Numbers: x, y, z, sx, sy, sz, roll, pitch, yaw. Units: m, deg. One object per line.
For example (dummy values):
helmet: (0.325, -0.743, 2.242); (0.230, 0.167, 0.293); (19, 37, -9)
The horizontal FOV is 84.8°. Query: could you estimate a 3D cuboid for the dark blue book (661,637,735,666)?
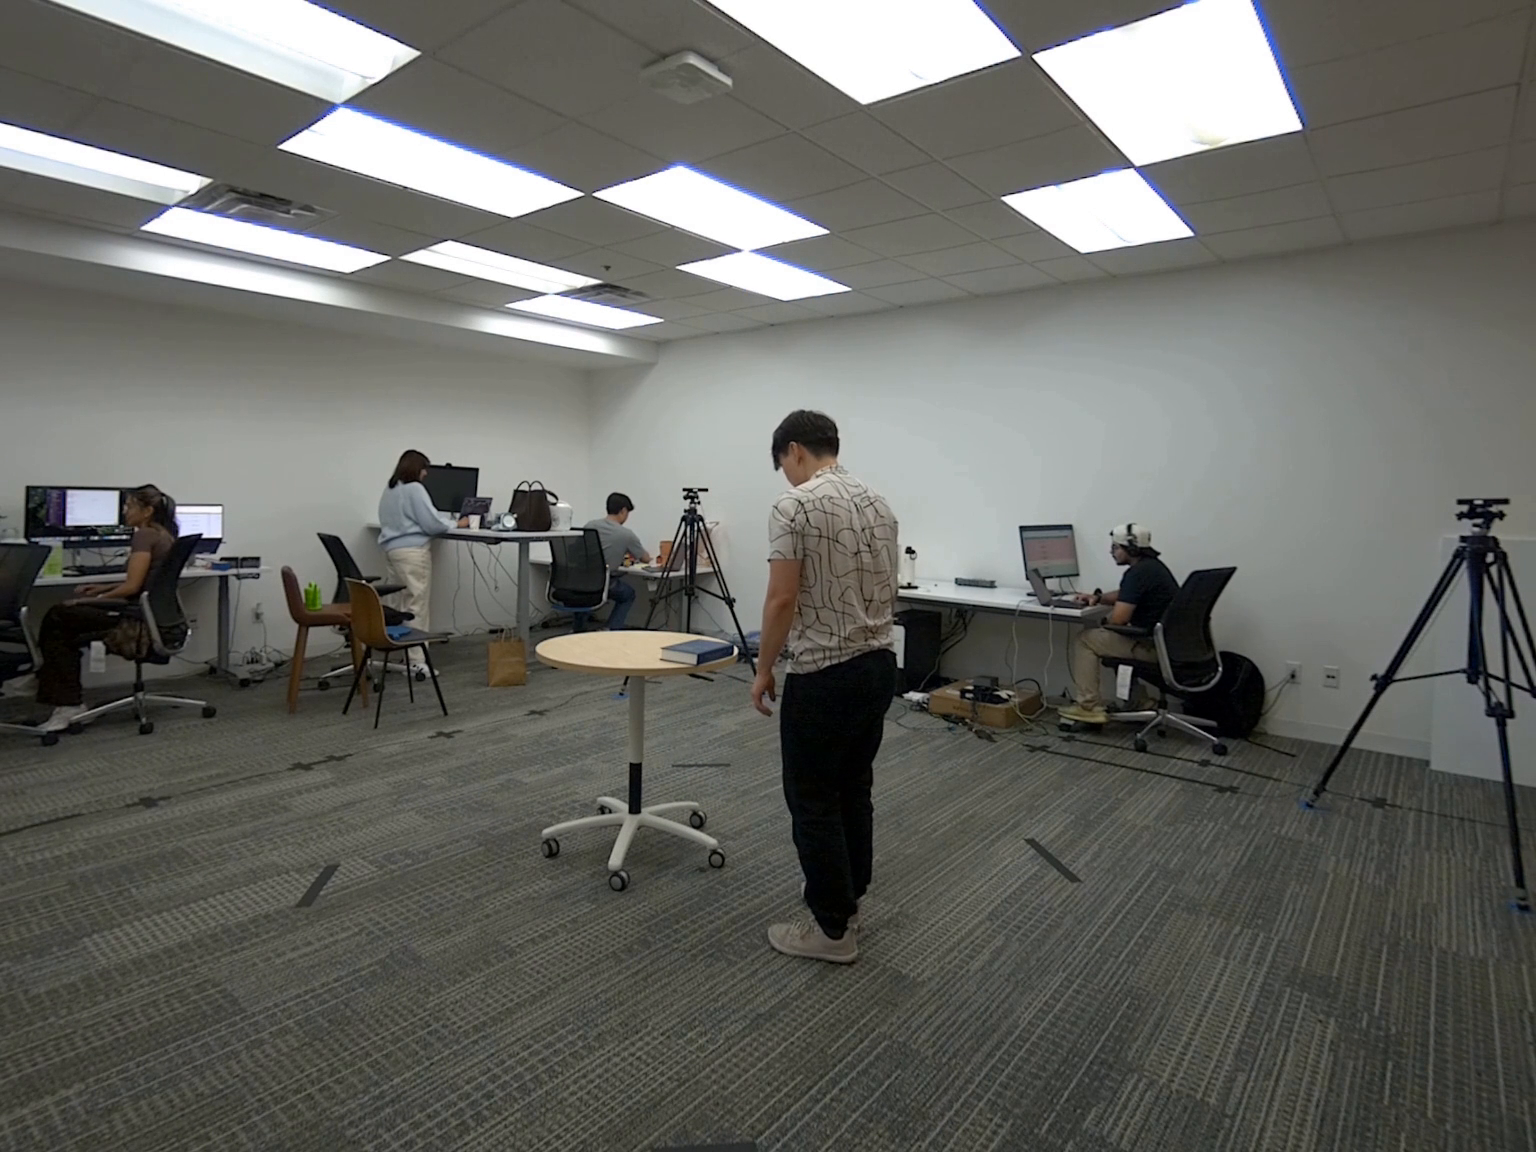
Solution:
dark blue book: (-0.263, 0.272, 3.076); (0.168, 0.045, 0.239); (5, 6, 30)
